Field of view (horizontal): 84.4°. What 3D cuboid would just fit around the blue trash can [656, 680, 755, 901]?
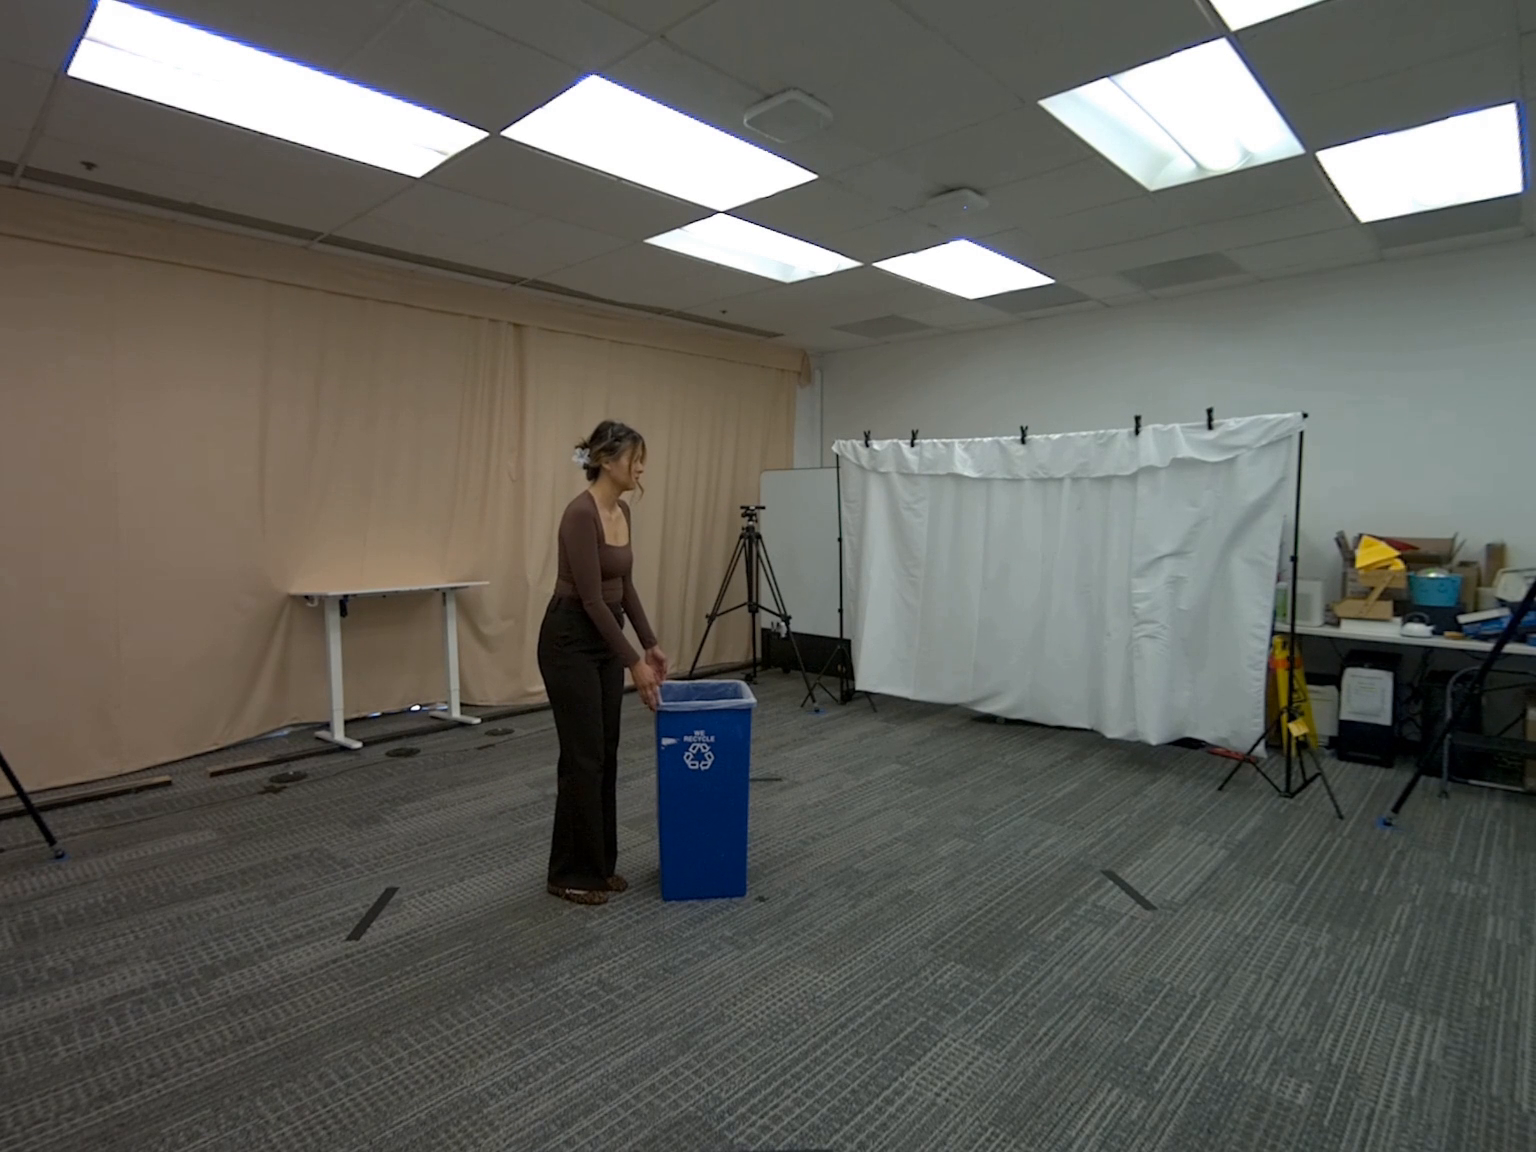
[{"bbox_3d":[-0.241,0.779,3.103,0.375,0.712,0.378,-1,3,-8],"label":"blue trash can"}]
